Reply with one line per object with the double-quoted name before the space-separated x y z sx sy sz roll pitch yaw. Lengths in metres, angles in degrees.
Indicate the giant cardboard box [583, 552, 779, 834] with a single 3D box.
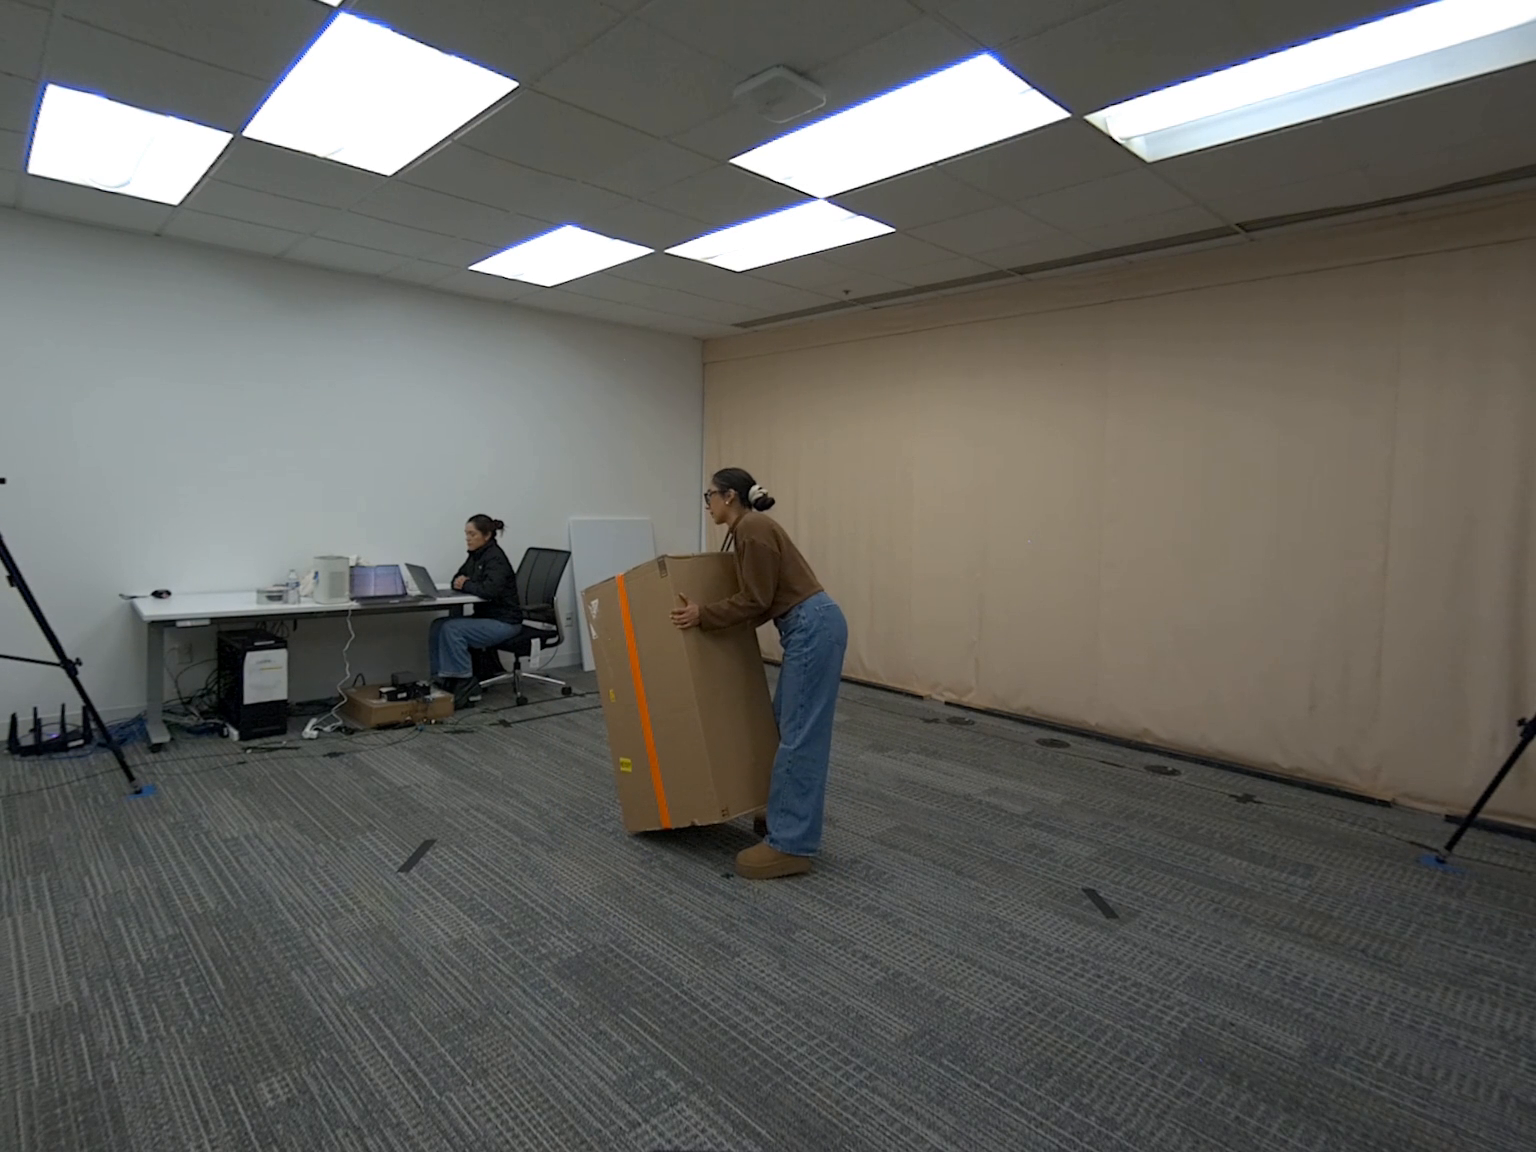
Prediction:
"giant cardboard box" -0.367 0.472 3.504 0.416 1.036 0.585 -2 -15 -46
